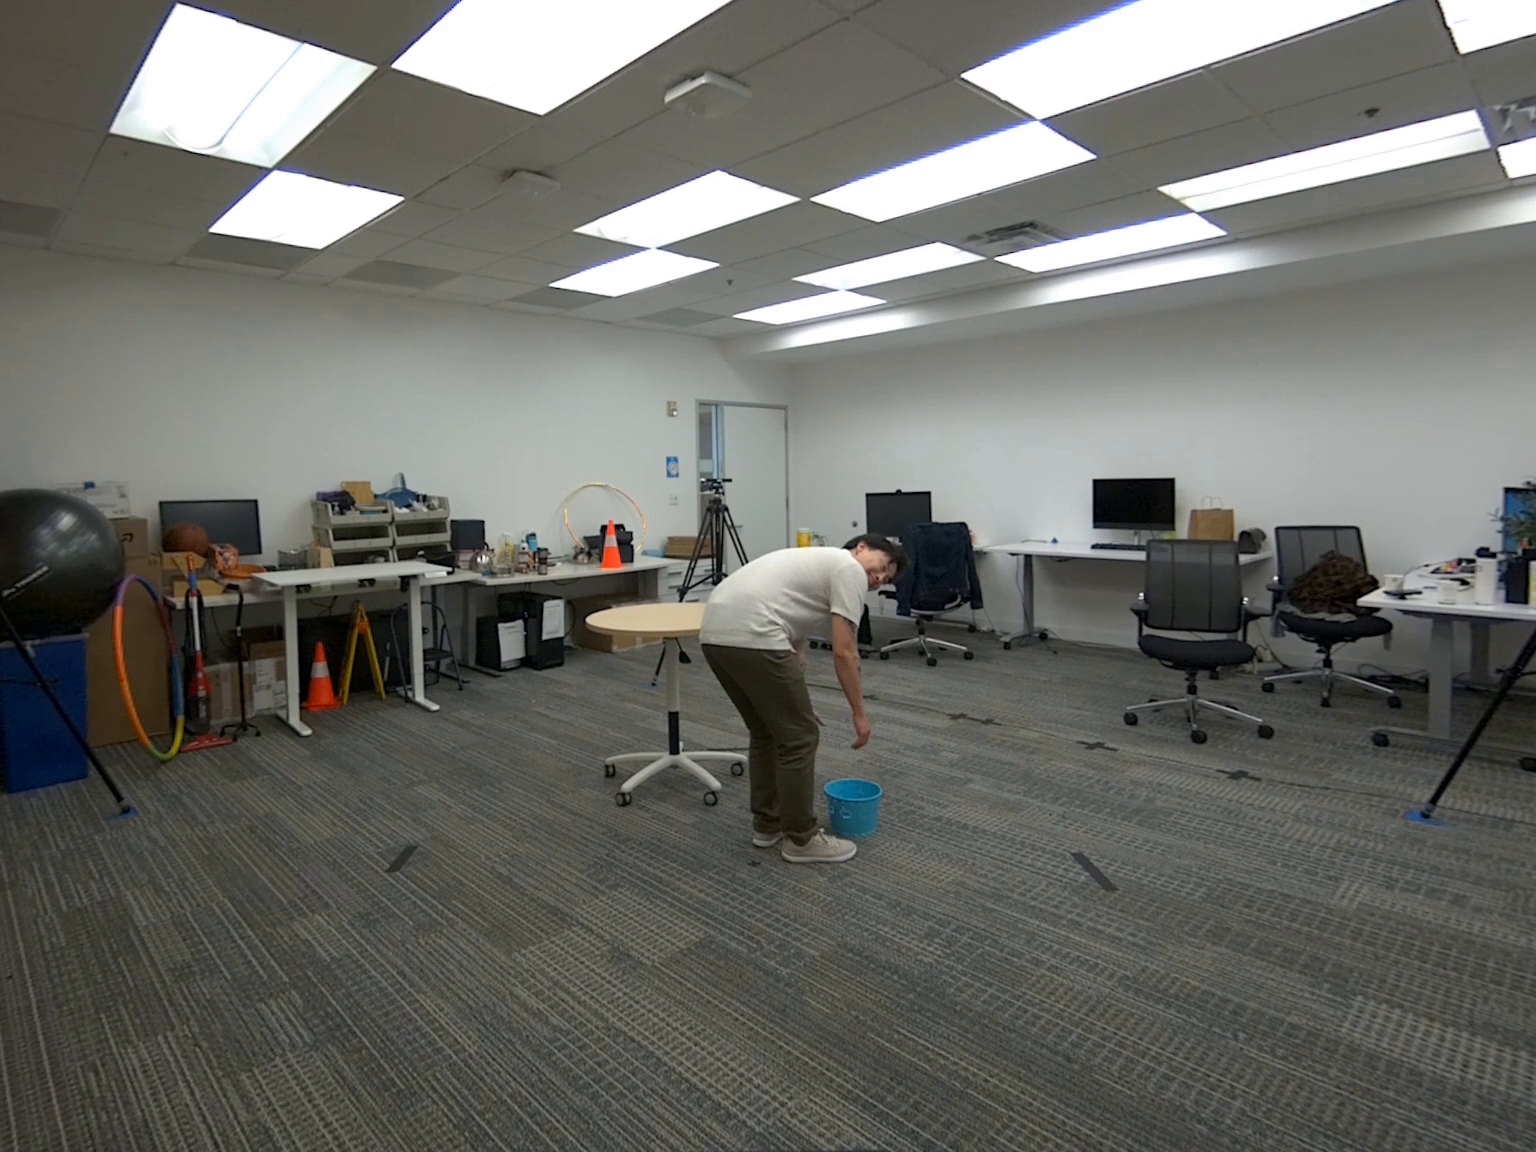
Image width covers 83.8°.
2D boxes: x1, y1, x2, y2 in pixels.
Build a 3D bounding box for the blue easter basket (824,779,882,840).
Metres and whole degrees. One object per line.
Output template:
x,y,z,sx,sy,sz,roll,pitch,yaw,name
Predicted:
0.340,0.921,3.424,0.243,0.155,0.245,0,6,-2,blue easter basket
